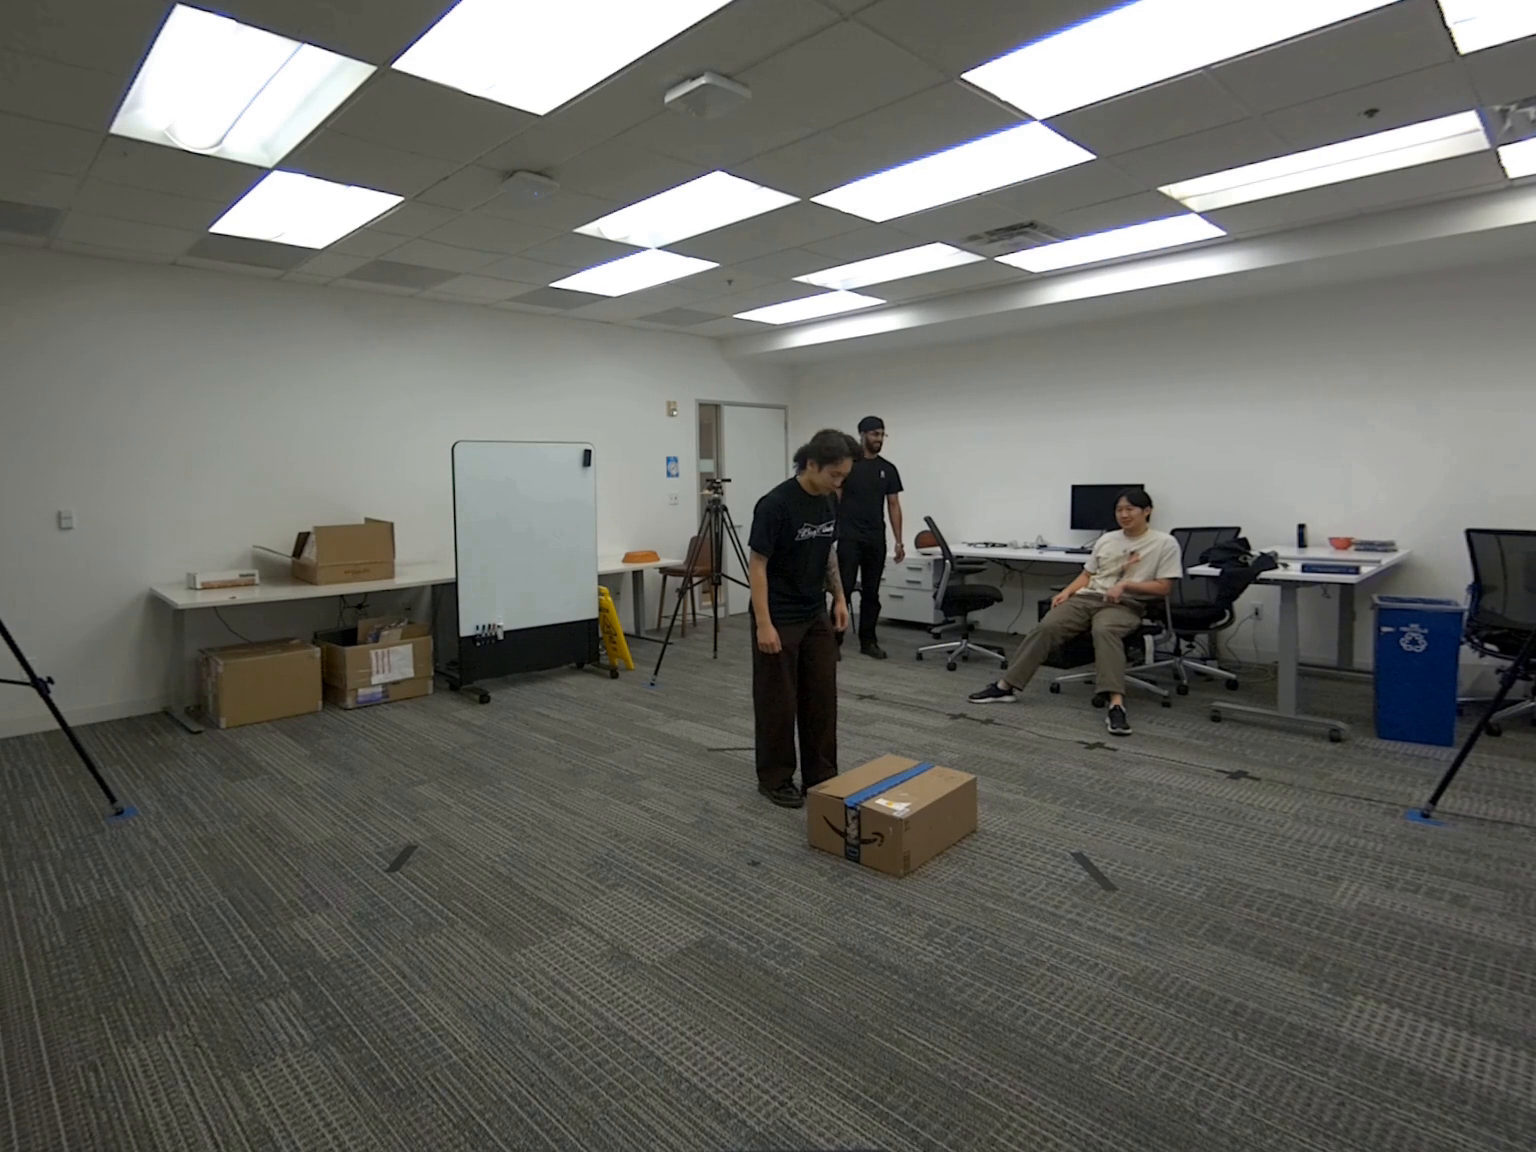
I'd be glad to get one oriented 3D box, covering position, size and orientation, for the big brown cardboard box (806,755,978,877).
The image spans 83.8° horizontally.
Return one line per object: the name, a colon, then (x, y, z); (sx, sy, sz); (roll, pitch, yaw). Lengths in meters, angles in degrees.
big brown cardboard box: (0.480, 0.901, 3.298); (0.430, 0.232, 0.573); (4, 7, 41)
